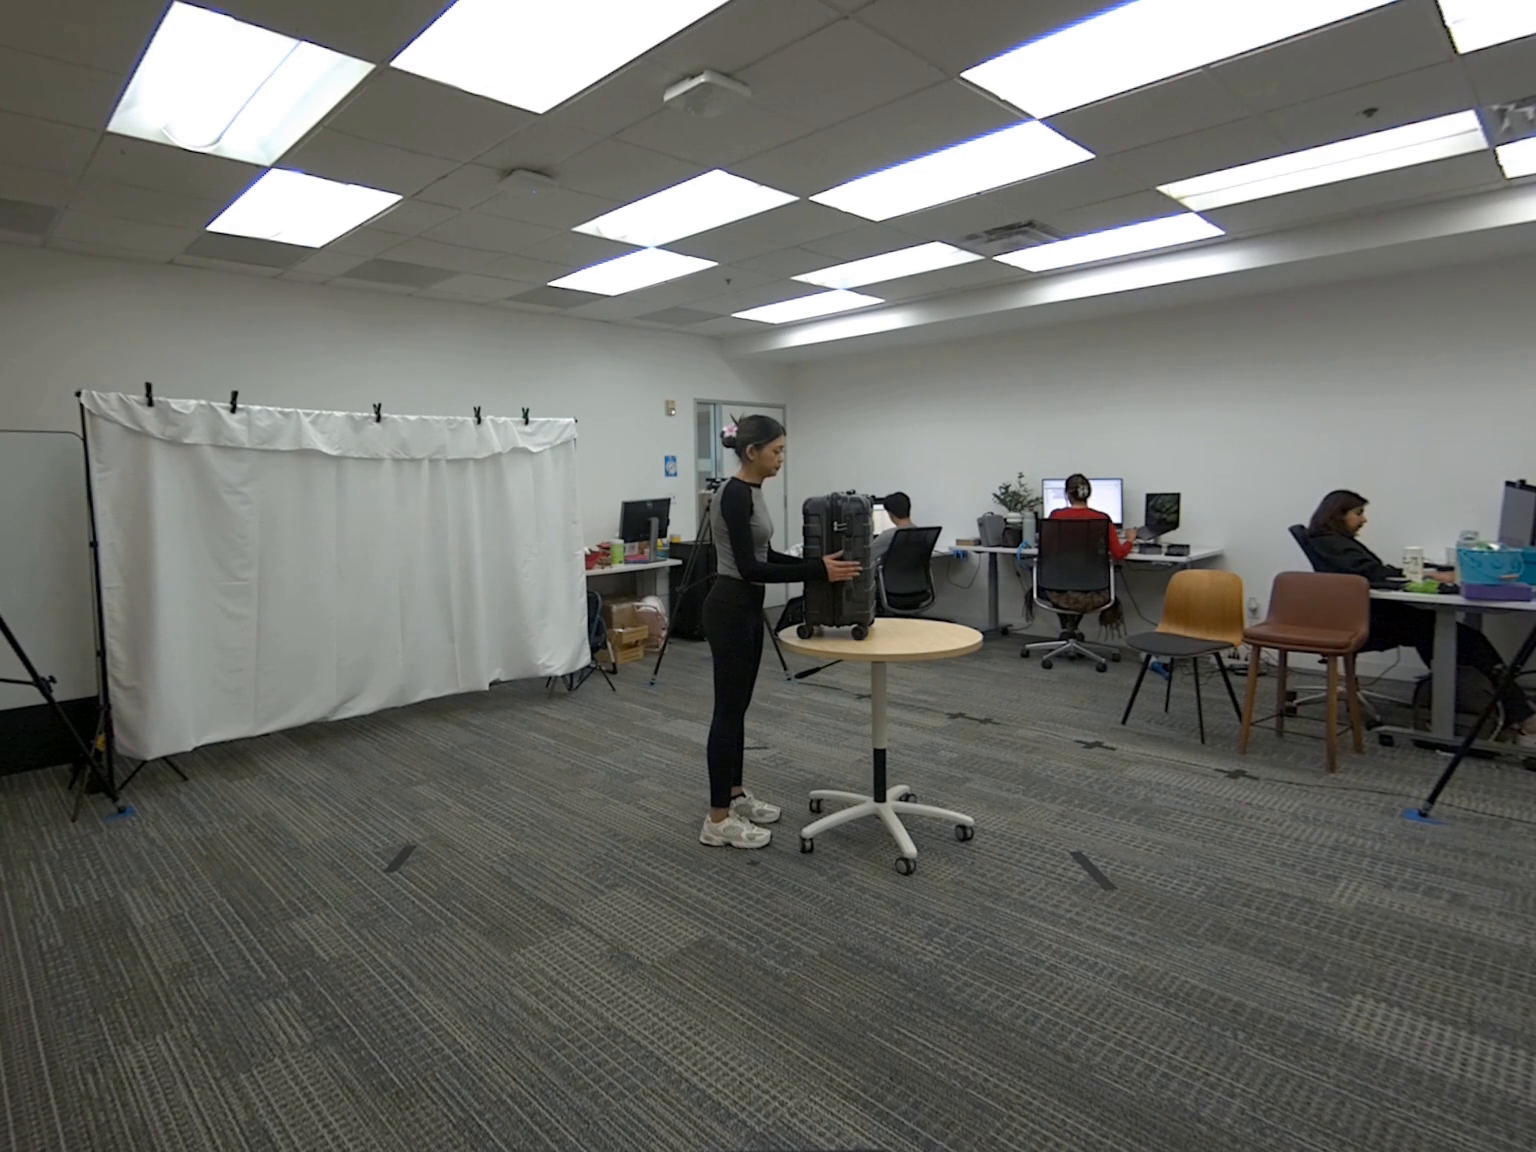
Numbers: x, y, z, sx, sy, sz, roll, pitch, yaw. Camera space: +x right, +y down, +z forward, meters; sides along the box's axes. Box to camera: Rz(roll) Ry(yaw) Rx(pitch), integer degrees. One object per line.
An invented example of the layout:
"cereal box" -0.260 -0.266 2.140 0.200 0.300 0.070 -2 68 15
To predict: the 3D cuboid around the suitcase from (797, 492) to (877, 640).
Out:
"suitcase" 0.271 -0.055 3.296 0.251 0.547 0.372 1 5 12
